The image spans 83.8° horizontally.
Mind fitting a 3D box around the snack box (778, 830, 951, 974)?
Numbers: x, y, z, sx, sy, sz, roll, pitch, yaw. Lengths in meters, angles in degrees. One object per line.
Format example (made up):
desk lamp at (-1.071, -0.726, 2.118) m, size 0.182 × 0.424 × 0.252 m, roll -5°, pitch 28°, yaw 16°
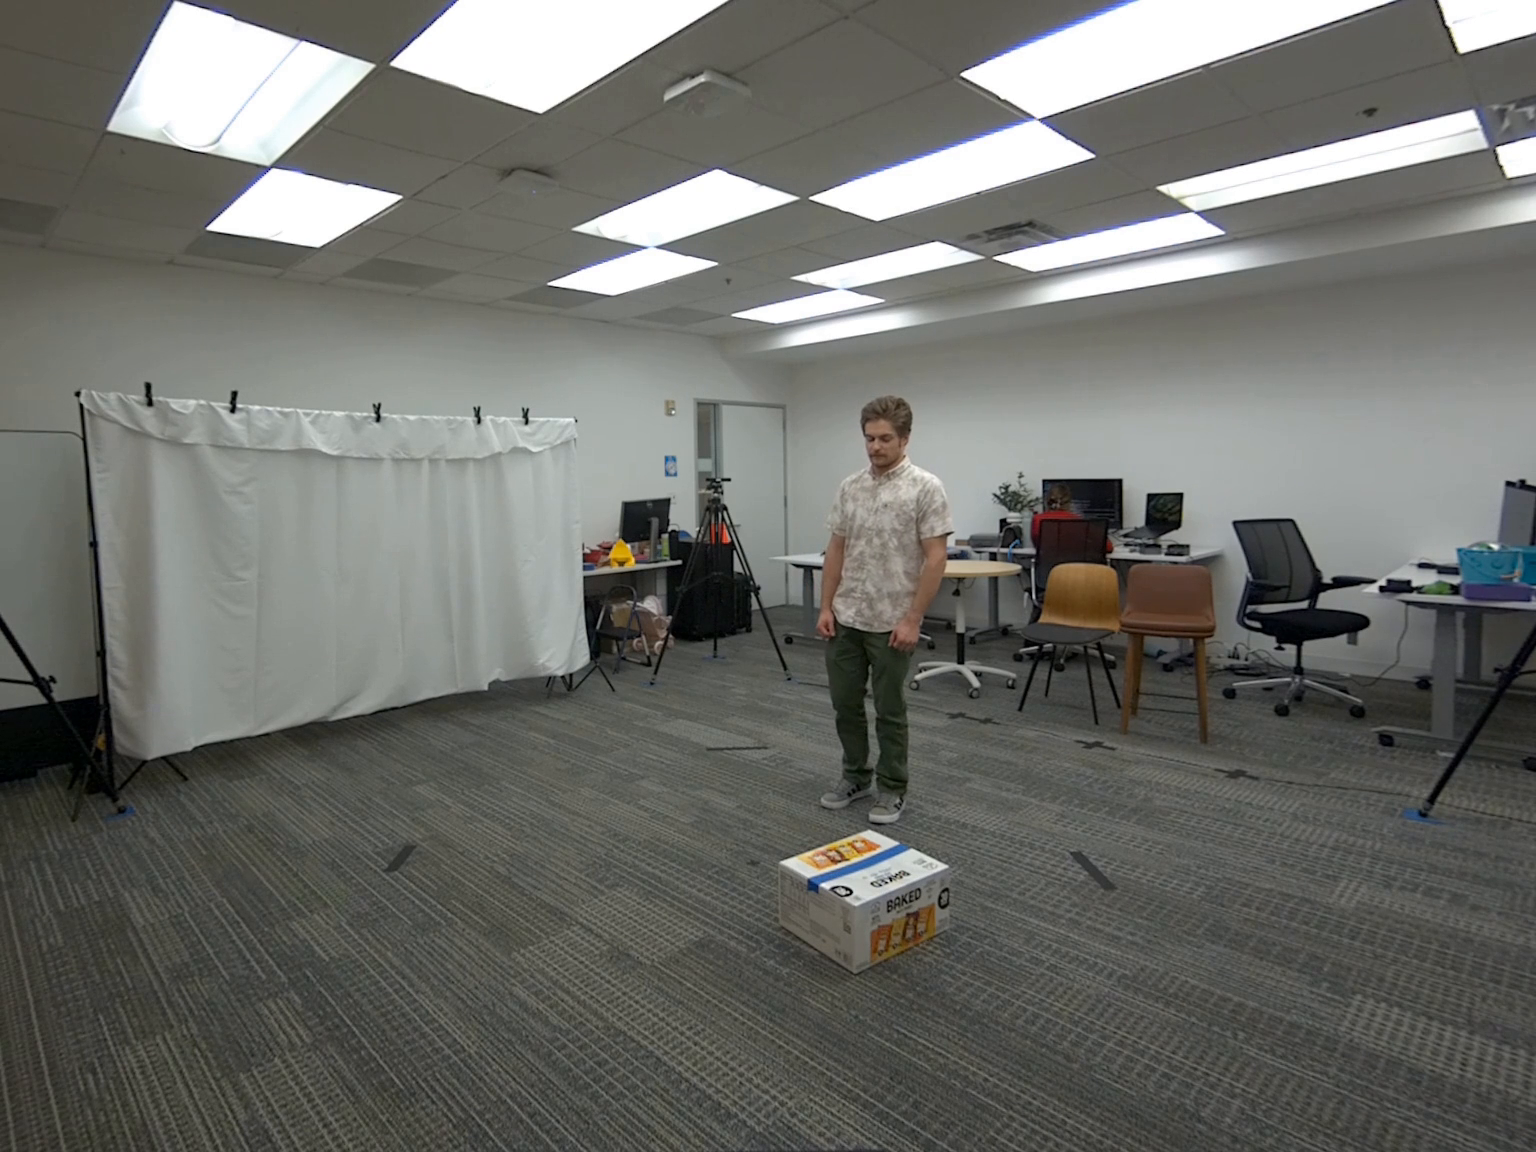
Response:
snack box at (0.300, 0.990, 2.636) m, size 0.395 × 0.205 × 0.350 m, roll -6°, pitch 7°, yaw -37°
